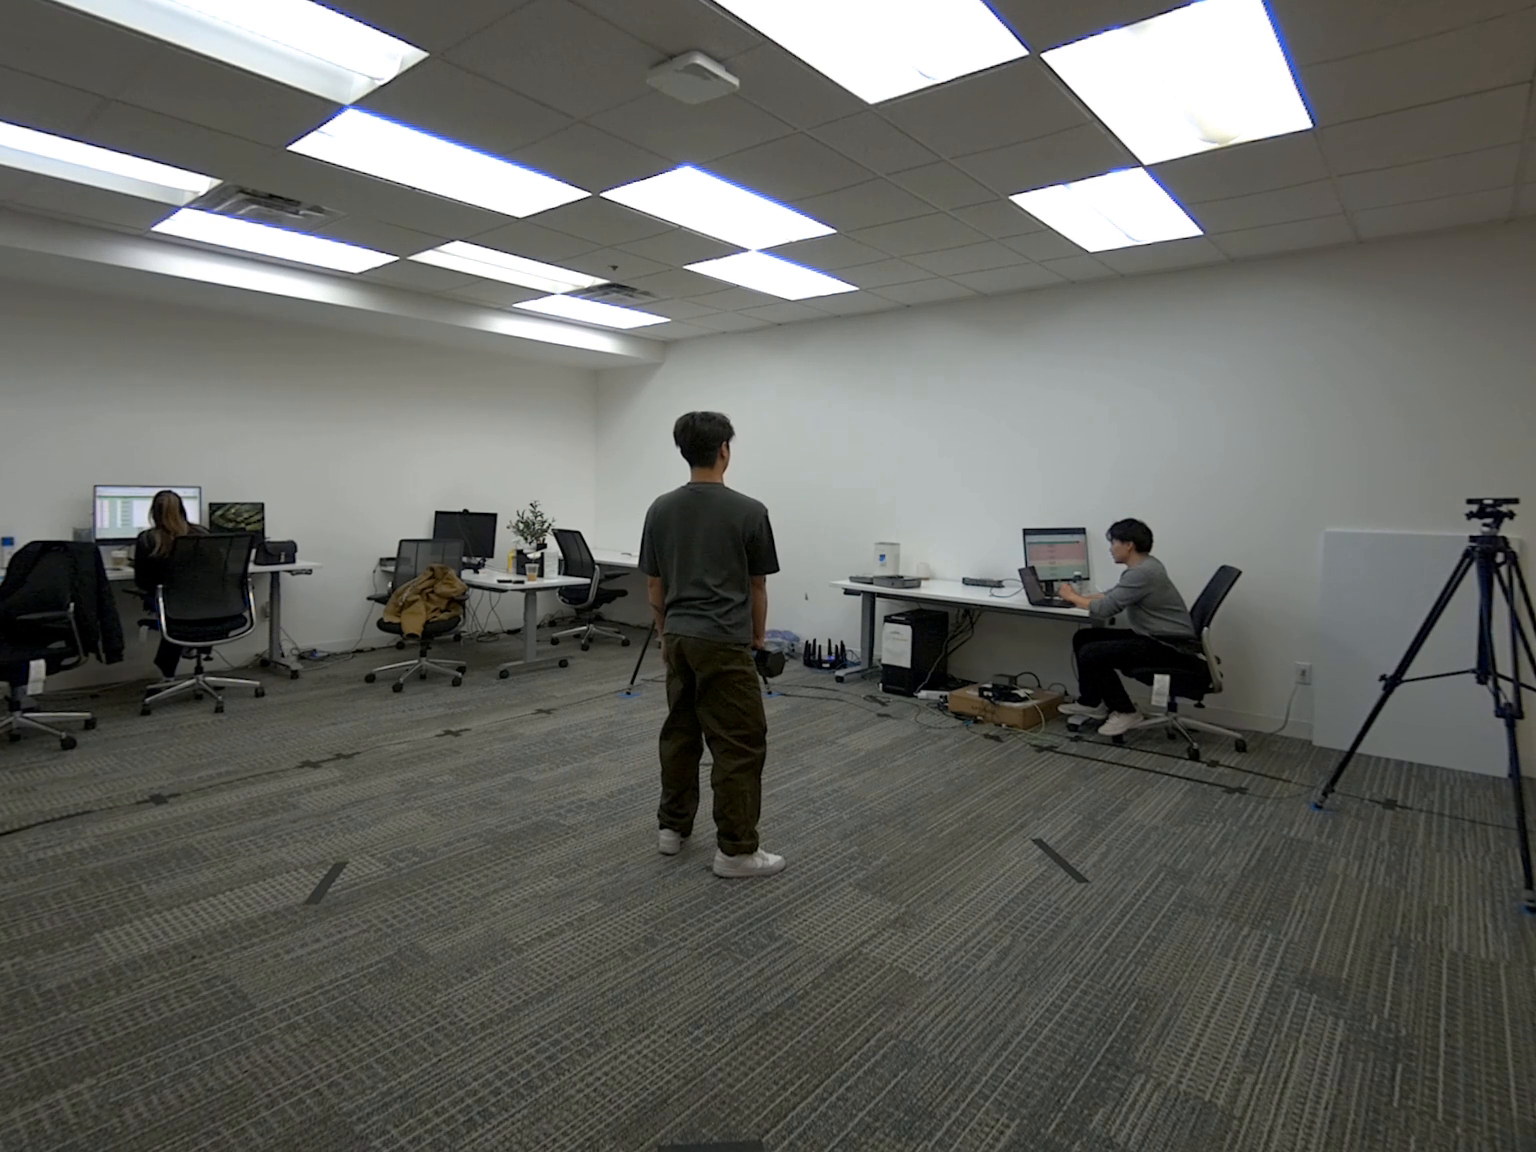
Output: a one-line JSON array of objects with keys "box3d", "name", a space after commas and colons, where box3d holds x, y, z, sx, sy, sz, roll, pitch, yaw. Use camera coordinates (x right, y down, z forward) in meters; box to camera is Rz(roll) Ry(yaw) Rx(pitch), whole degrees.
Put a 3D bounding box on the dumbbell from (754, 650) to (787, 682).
[{"box3d": [-0.087, 0.317, 3.315, 0.304, 0.124, 0.104, 8, -18, 41], "name": "dumbbell"}]
